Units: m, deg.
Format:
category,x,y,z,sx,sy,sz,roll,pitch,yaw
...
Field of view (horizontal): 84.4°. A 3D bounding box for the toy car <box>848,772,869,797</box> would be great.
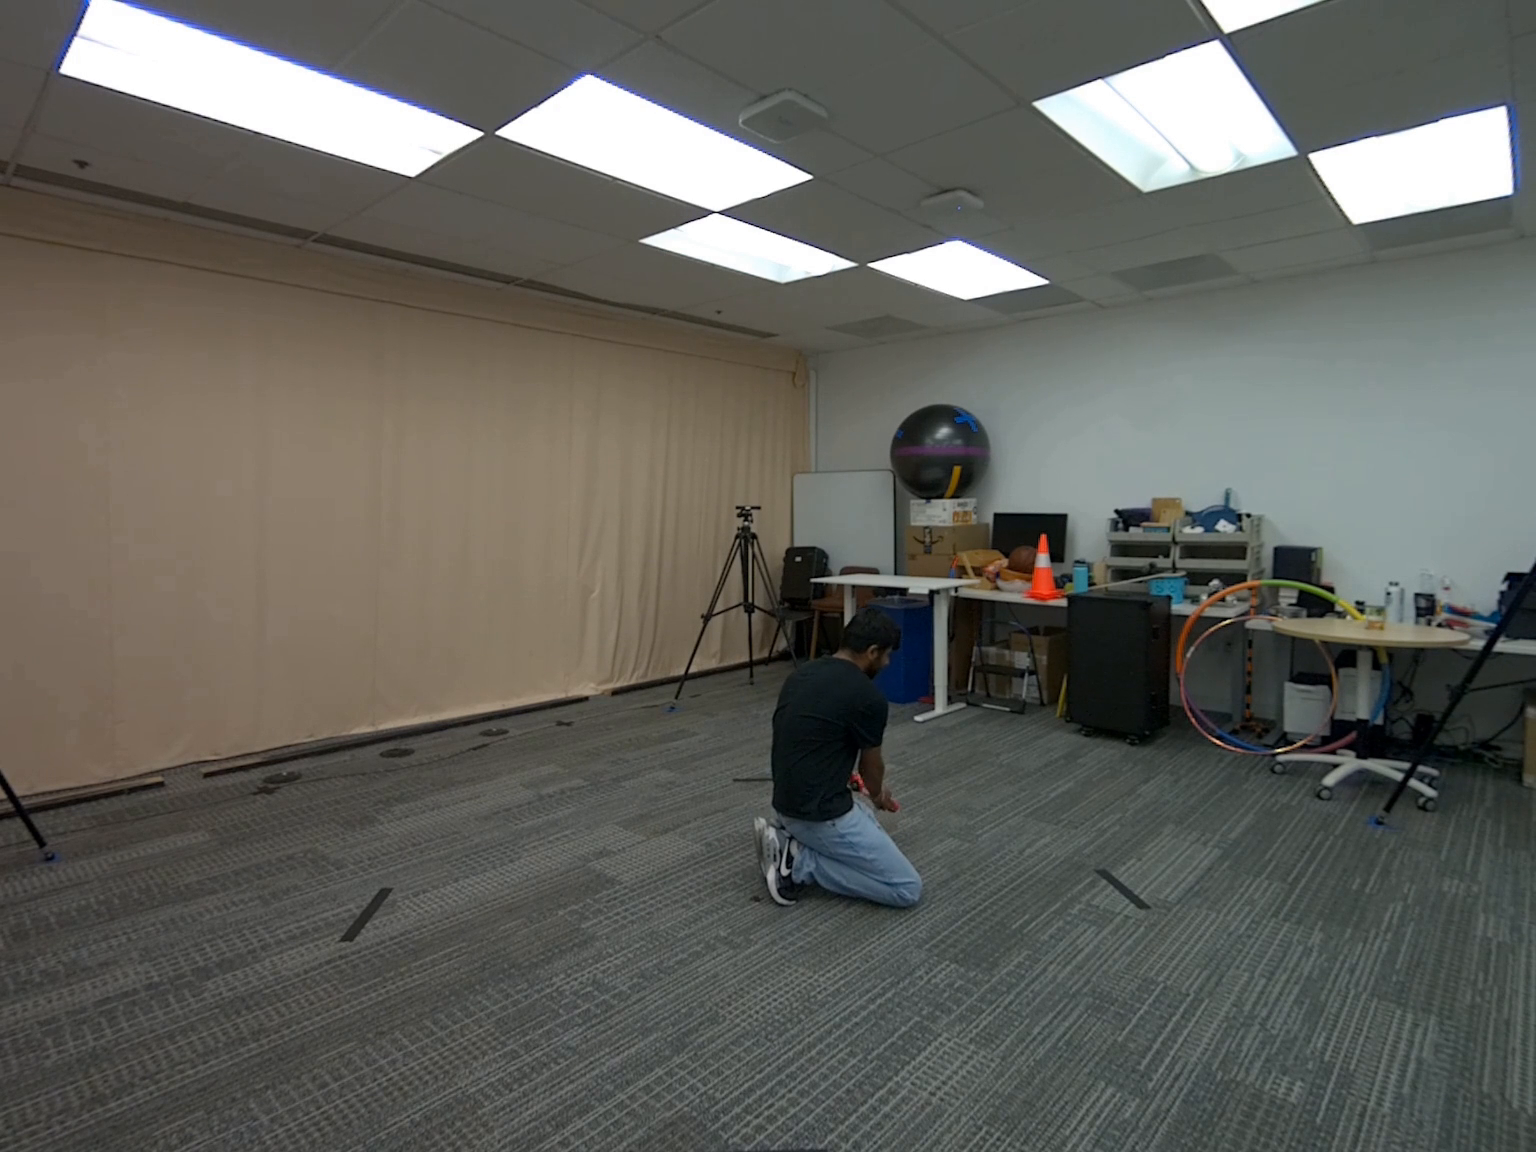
category,x,y,z,sx,sy,sz,roll,pitch,yaw
toy car,0.448,0.916,3.570,0.126,0.083,0.264,25,11,-39
